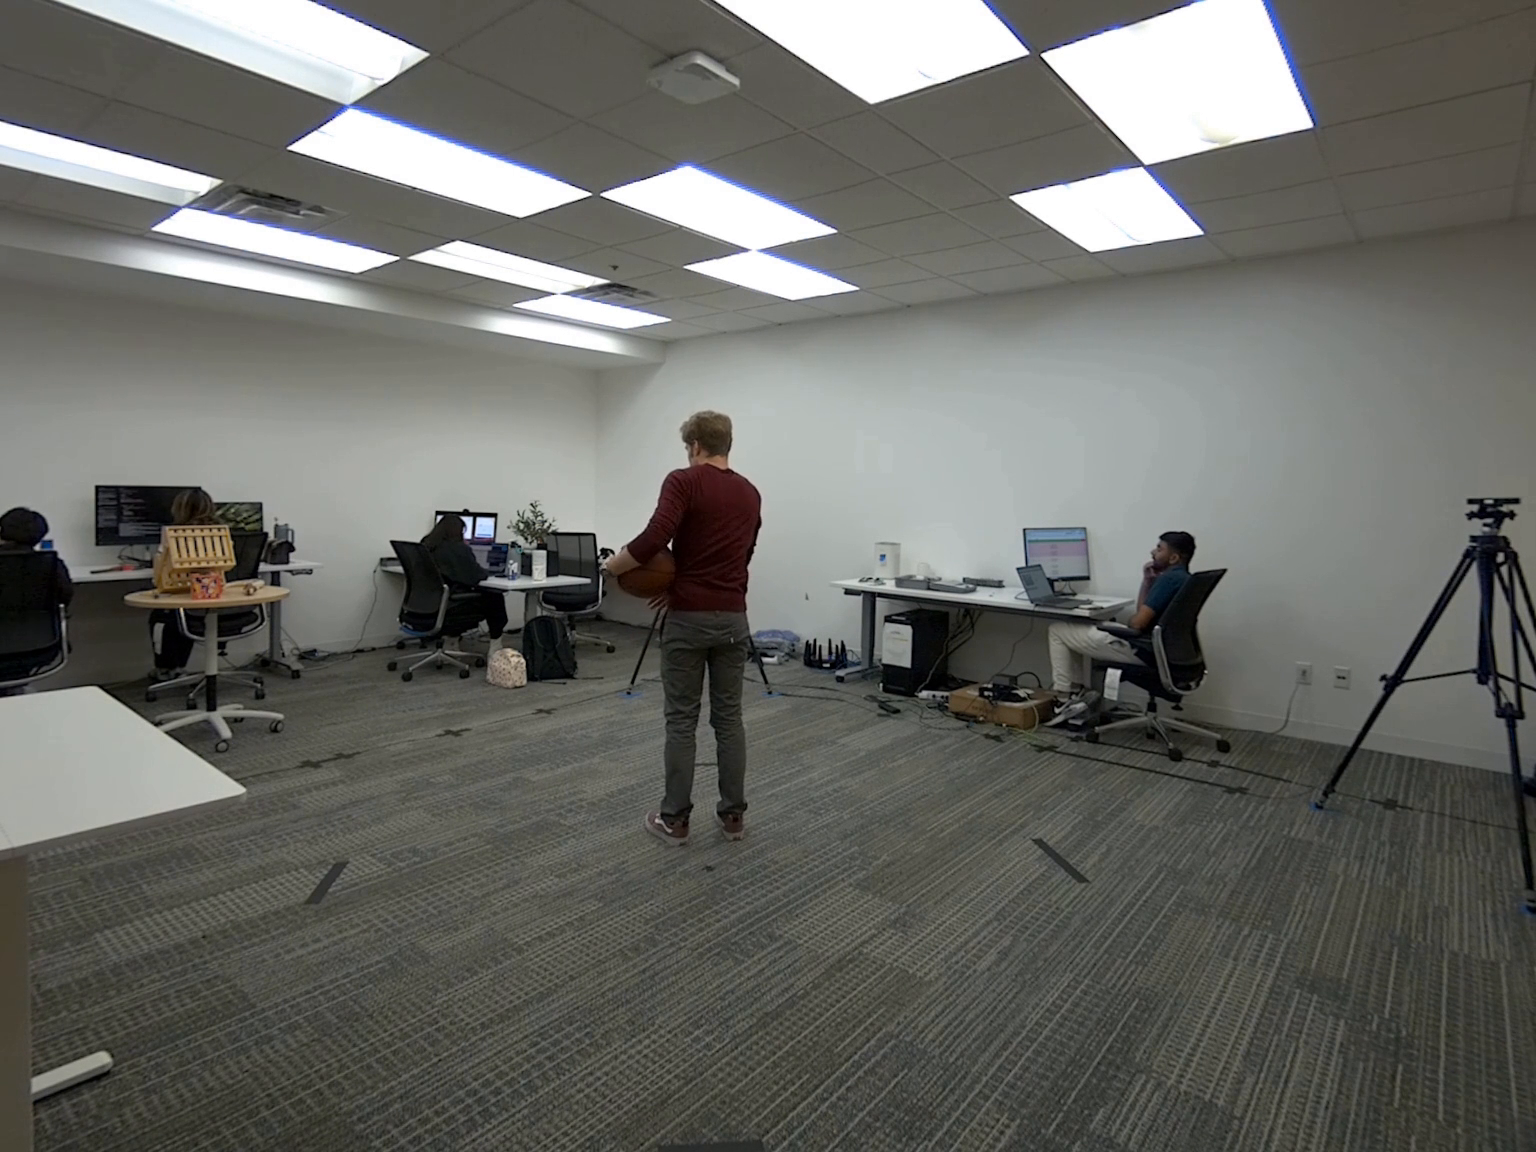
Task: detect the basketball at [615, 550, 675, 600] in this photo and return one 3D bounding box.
[{"bbox_3d":[-0.486,-0.033,3.349,0.235,0.235,0.237,1,4,-2],"label":"basketball"}]
